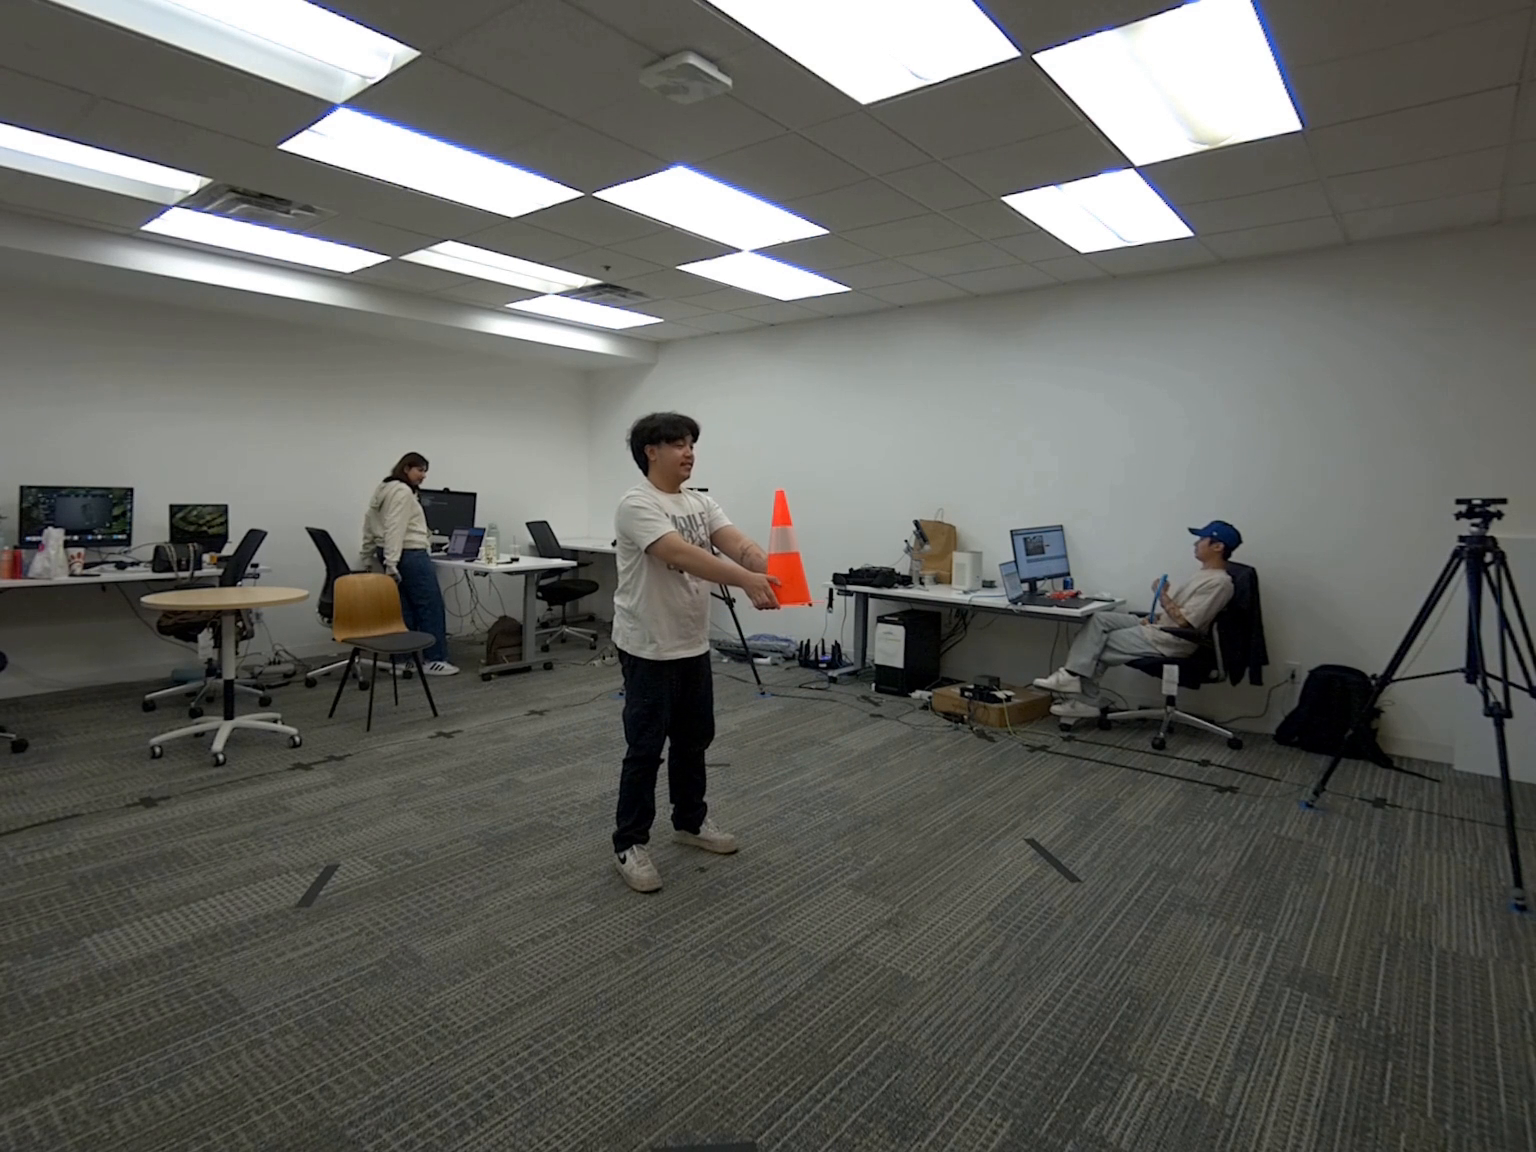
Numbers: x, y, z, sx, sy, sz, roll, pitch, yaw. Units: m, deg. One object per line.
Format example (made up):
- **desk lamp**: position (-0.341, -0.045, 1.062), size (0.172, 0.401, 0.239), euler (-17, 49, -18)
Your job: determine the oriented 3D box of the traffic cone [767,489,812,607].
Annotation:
- **traffic cone**: position (0.050, -0.101, 2.842), size (0.208, 0.384, 0.200), euler (-3, 0, 23)
